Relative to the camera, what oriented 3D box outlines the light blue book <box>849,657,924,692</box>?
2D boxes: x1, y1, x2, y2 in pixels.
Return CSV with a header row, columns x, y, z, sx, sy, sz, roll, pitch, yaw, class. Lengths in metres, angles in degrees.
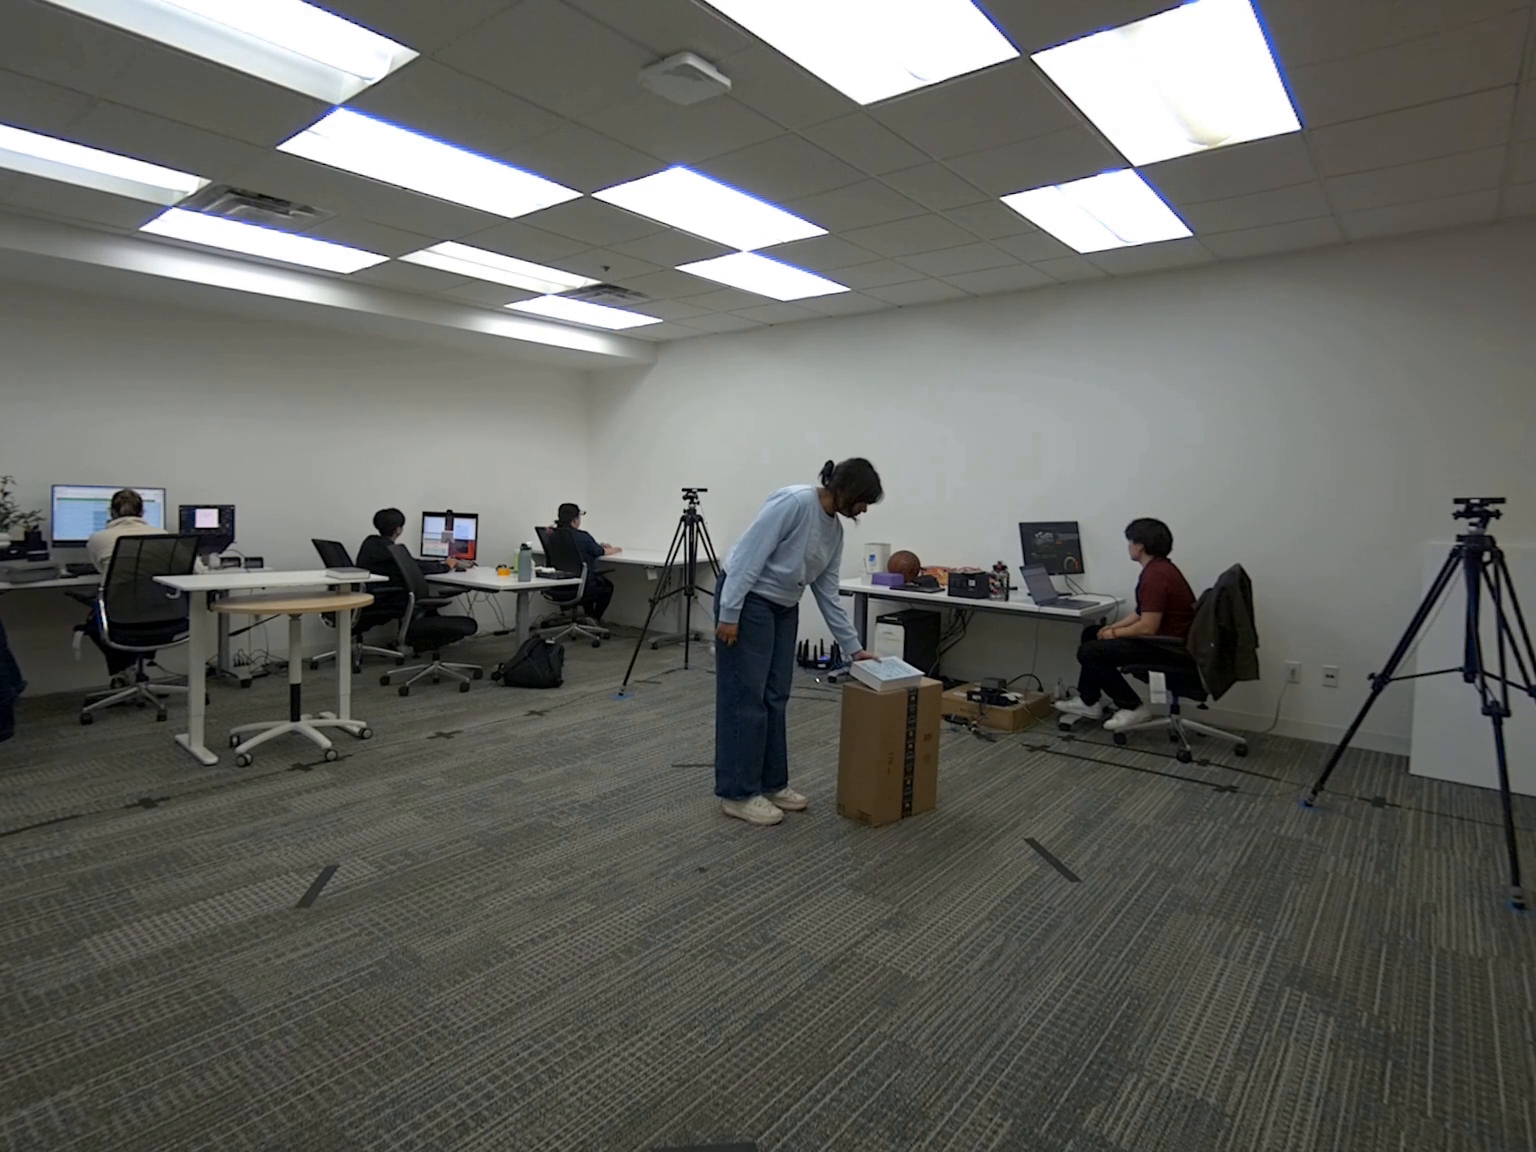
x,y,z,sx,sy,sz,roll,pitch,yaw,class
0.508,0.418,3.660,0.253,0.058,0.199,-3,21,-37,light blue book
